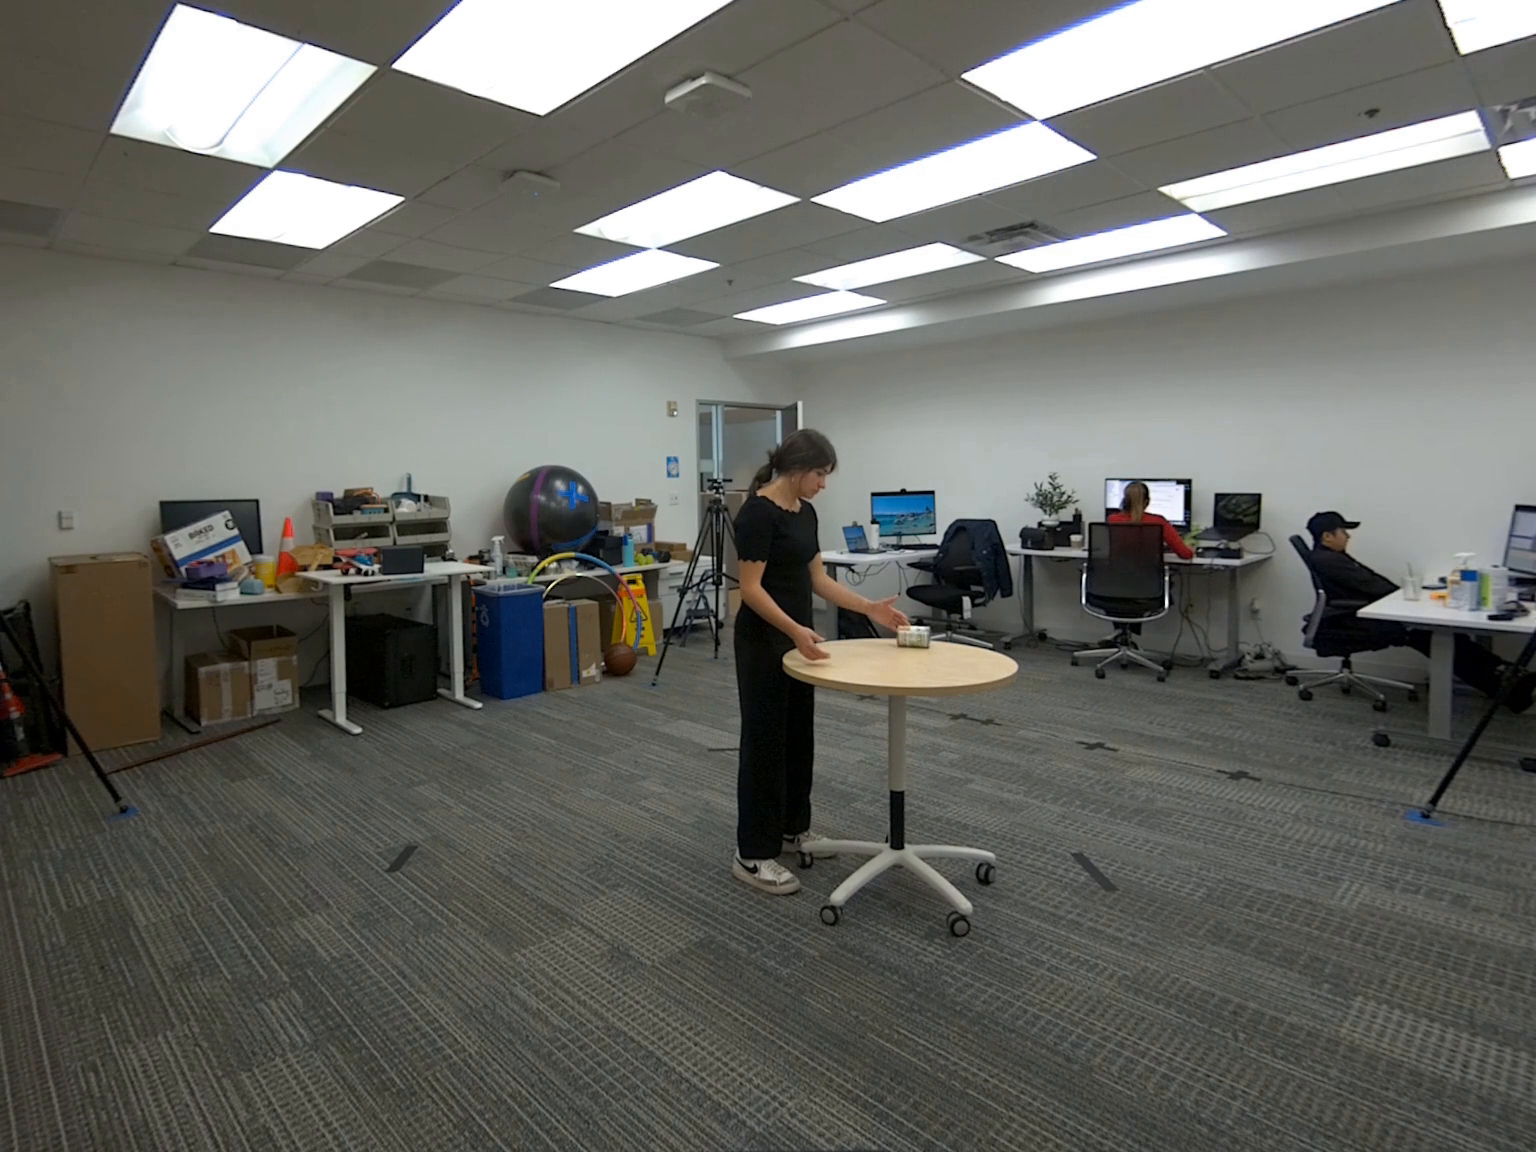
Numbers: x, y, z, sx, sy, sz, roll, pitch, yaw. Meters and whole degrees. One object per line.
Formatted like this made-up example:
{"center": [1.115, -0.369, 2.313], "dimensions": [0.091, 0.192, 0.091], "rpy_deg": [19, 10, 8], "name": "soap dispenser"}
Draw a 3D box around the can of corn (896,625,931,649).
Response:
{"center": [0.522, 0.215, 3.068], "dimensions": [0.112, 0.074, 0.073], "rpy_deg": [-3, 4, 15], "name": "can of corn"}
